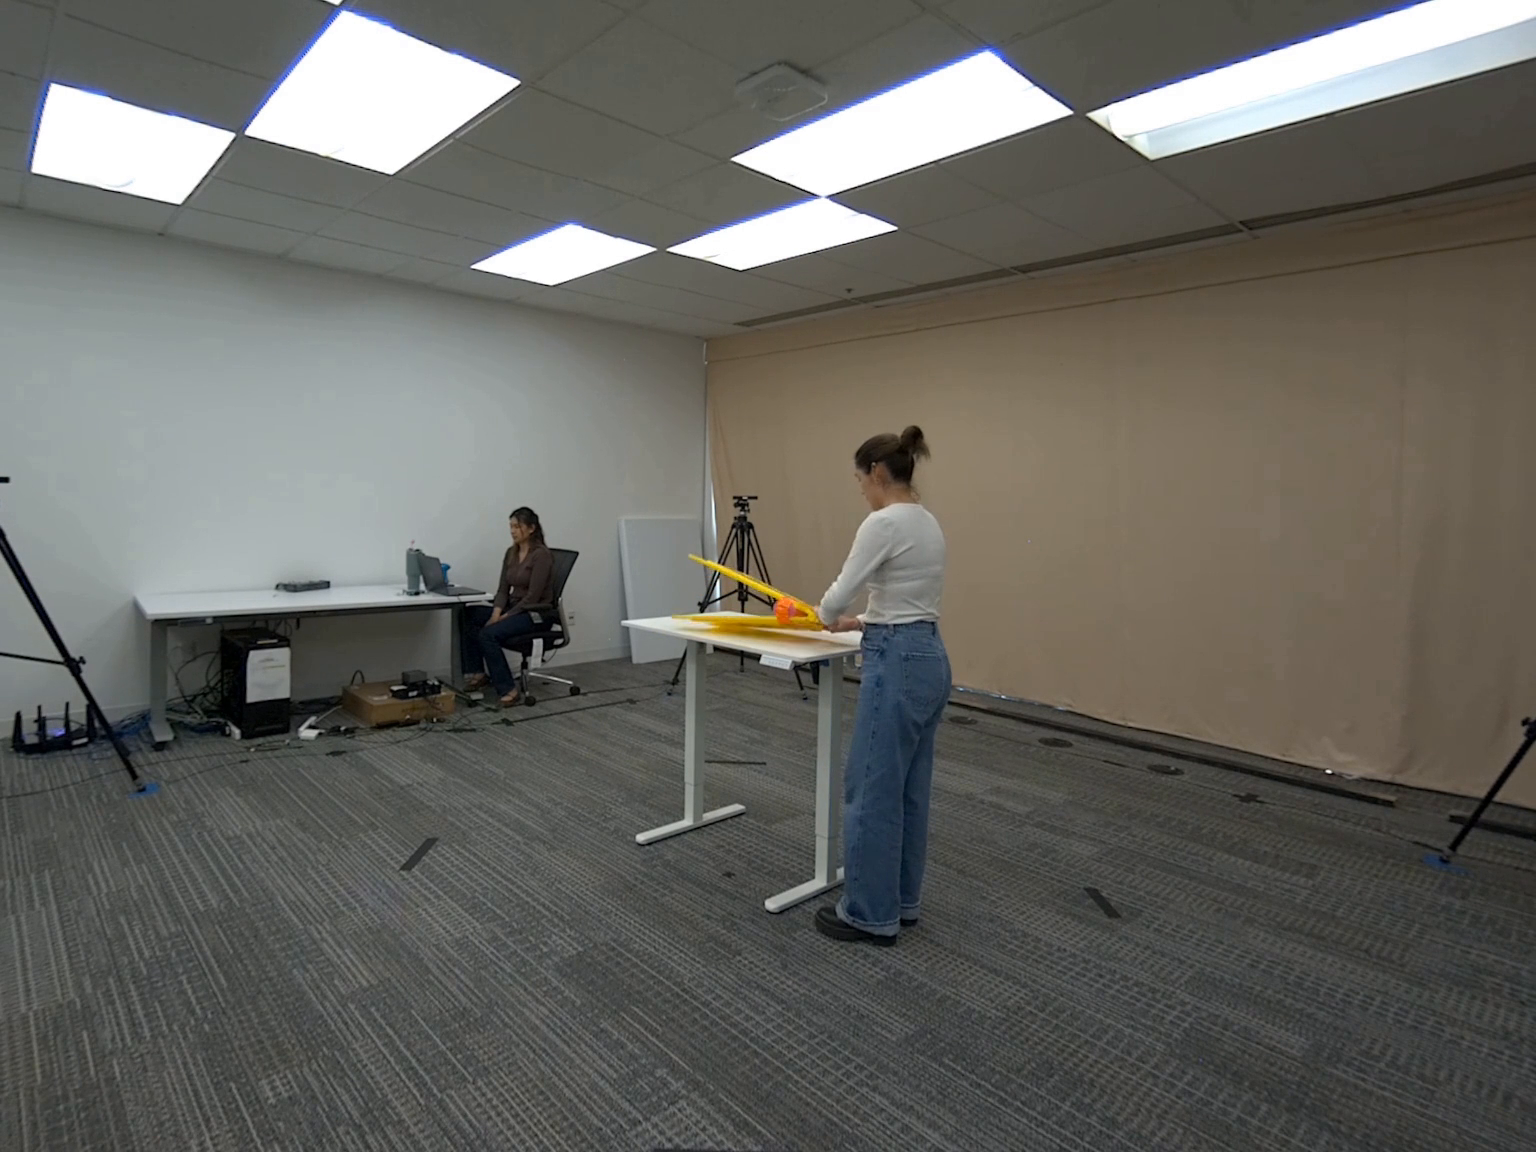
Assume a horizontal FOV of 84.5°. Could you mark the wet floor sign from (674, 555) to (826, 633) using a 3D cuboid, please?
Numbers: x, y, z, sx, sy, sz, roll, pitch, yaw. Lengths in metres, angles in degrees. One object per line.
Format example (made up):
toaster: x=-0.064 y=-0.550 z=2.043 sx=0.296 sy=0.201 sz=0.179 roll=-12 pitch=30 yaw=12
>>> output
wet floor sign: x=-0.027 y=0.115 z=3.112 sx=0.664 sy=0.290 sz=0.274 roll=12 pitch=-4 yaw=41
